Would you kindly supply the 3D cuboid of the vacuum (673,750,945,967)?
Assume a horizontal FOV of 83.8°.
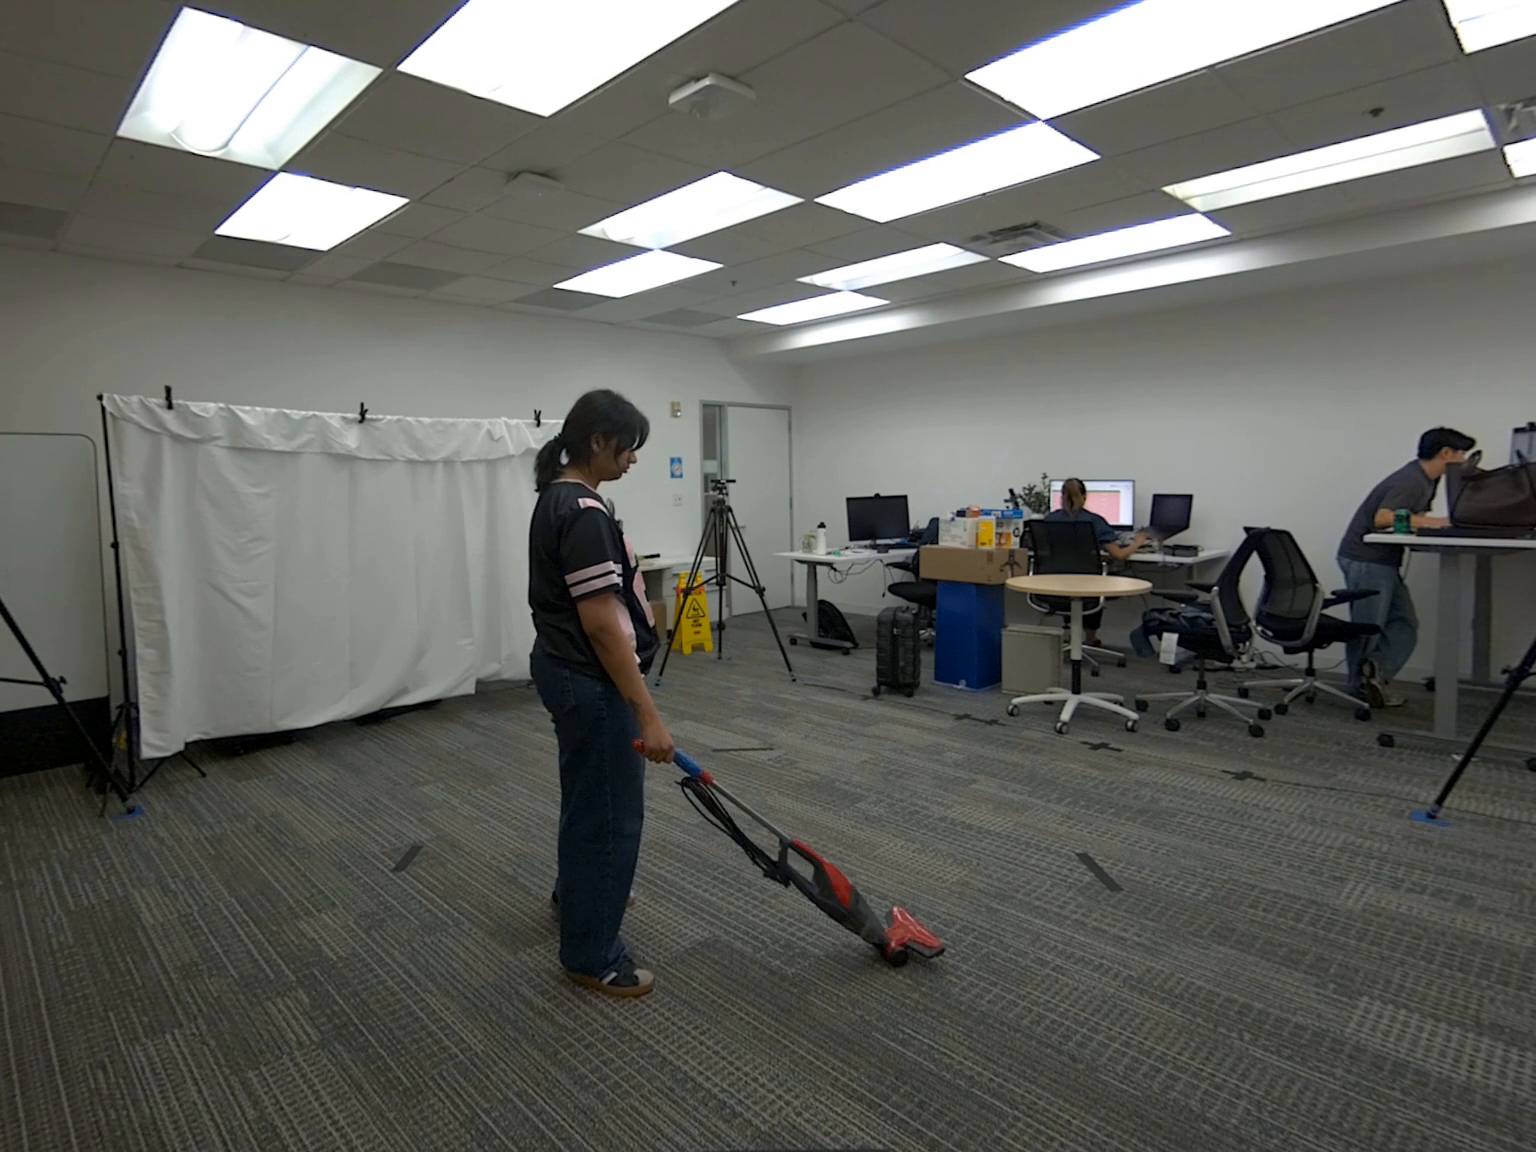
[{"bbox_3d":[0.028,0.755,2.369,1.027,0.144,0.257,40,-14,-16],"label":"vacuum"}]
